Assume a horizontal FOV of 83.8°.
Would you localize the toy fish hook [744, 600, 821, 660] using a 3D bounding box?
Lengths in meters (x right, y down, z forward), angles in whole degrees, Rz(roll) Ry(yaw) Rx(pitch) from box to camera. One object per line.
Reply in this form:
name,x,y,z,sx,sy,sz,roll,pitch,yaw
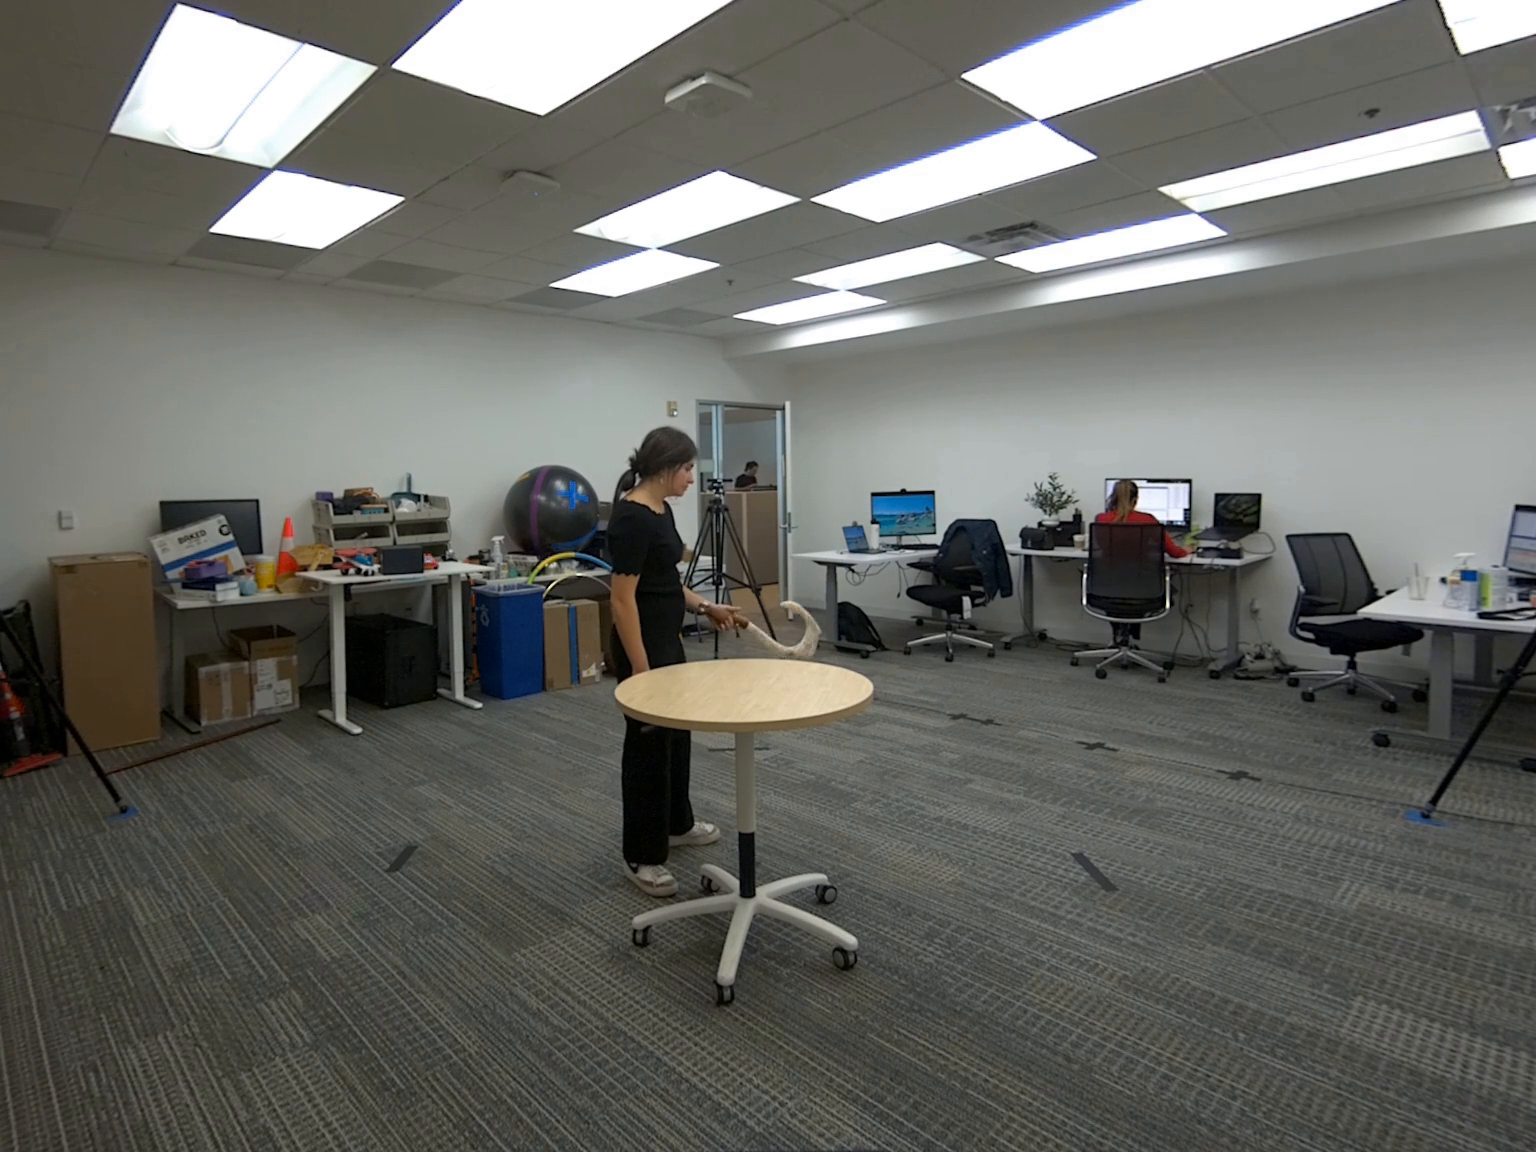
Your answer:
toy fish hook,-0.029,0.170,3.250,0.496,0.227,0.049,24,-24,-17
